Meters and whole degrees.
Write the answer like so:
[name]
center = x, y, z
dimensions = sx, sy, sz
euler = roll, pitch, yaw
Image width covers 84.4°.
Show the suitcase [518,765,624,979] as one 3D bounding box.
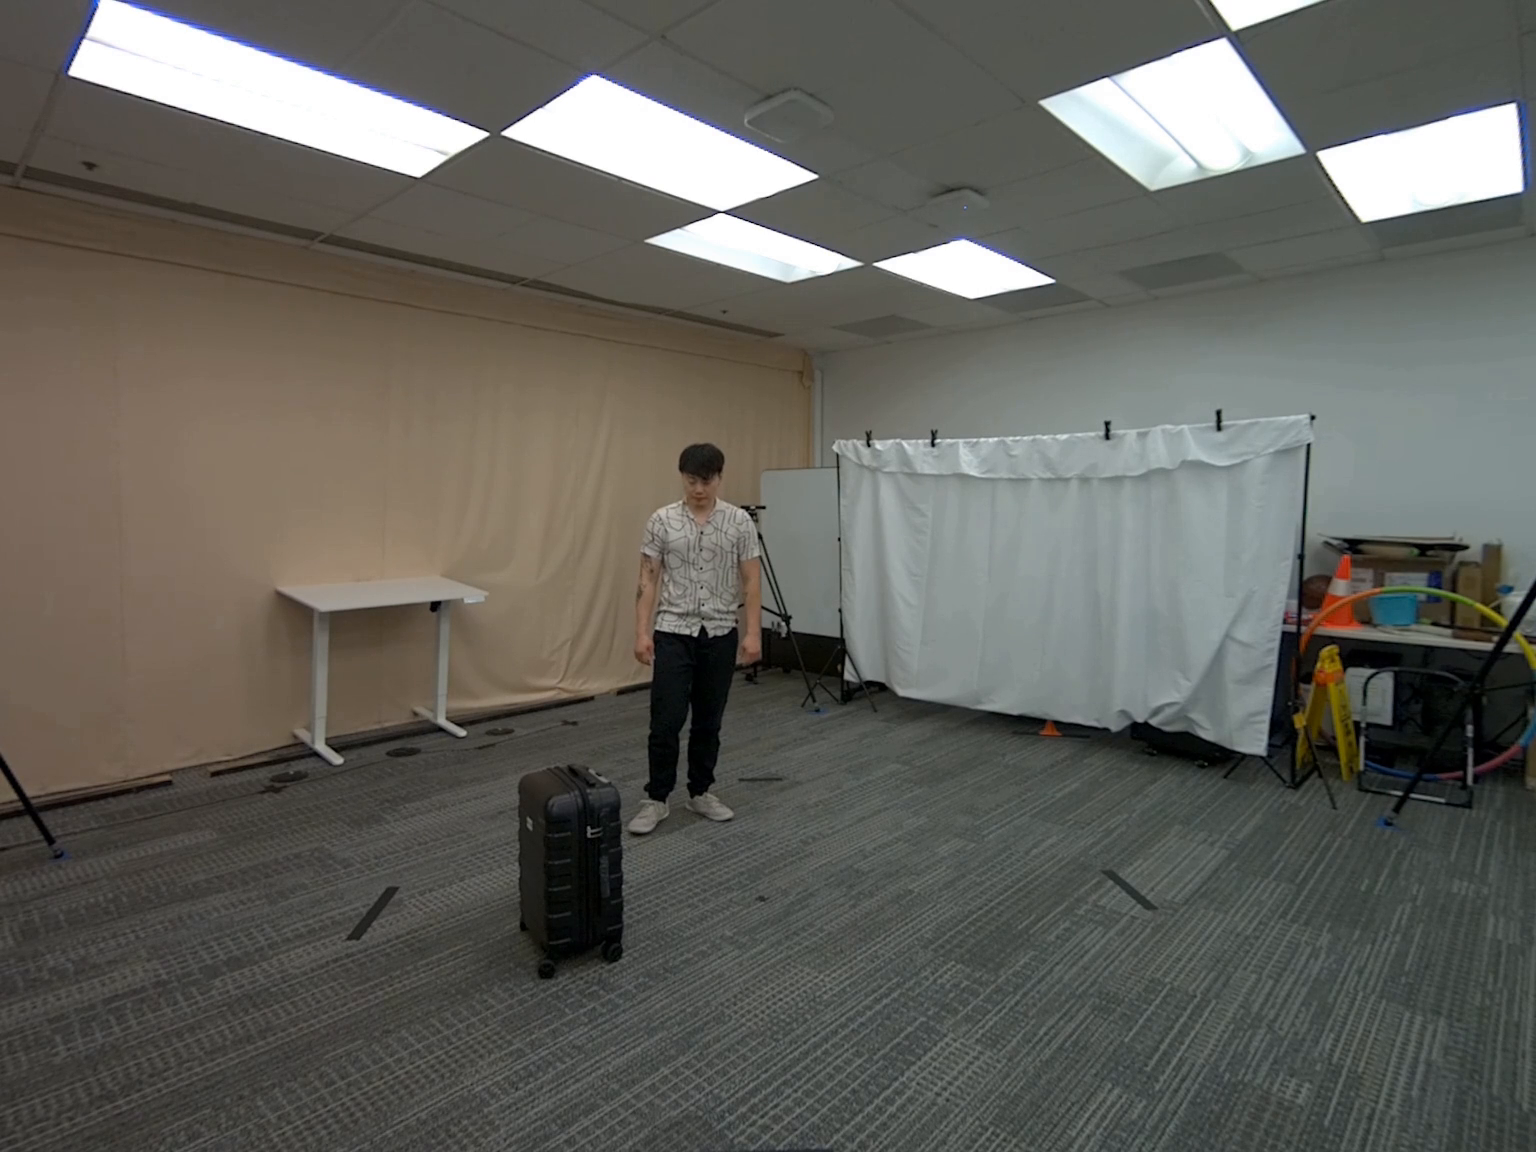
[suitcase]
center = -0.629, 0.895, 2.669
dimensions = 0.242, 0.548, 0.386
euler = -2, 4, -30
